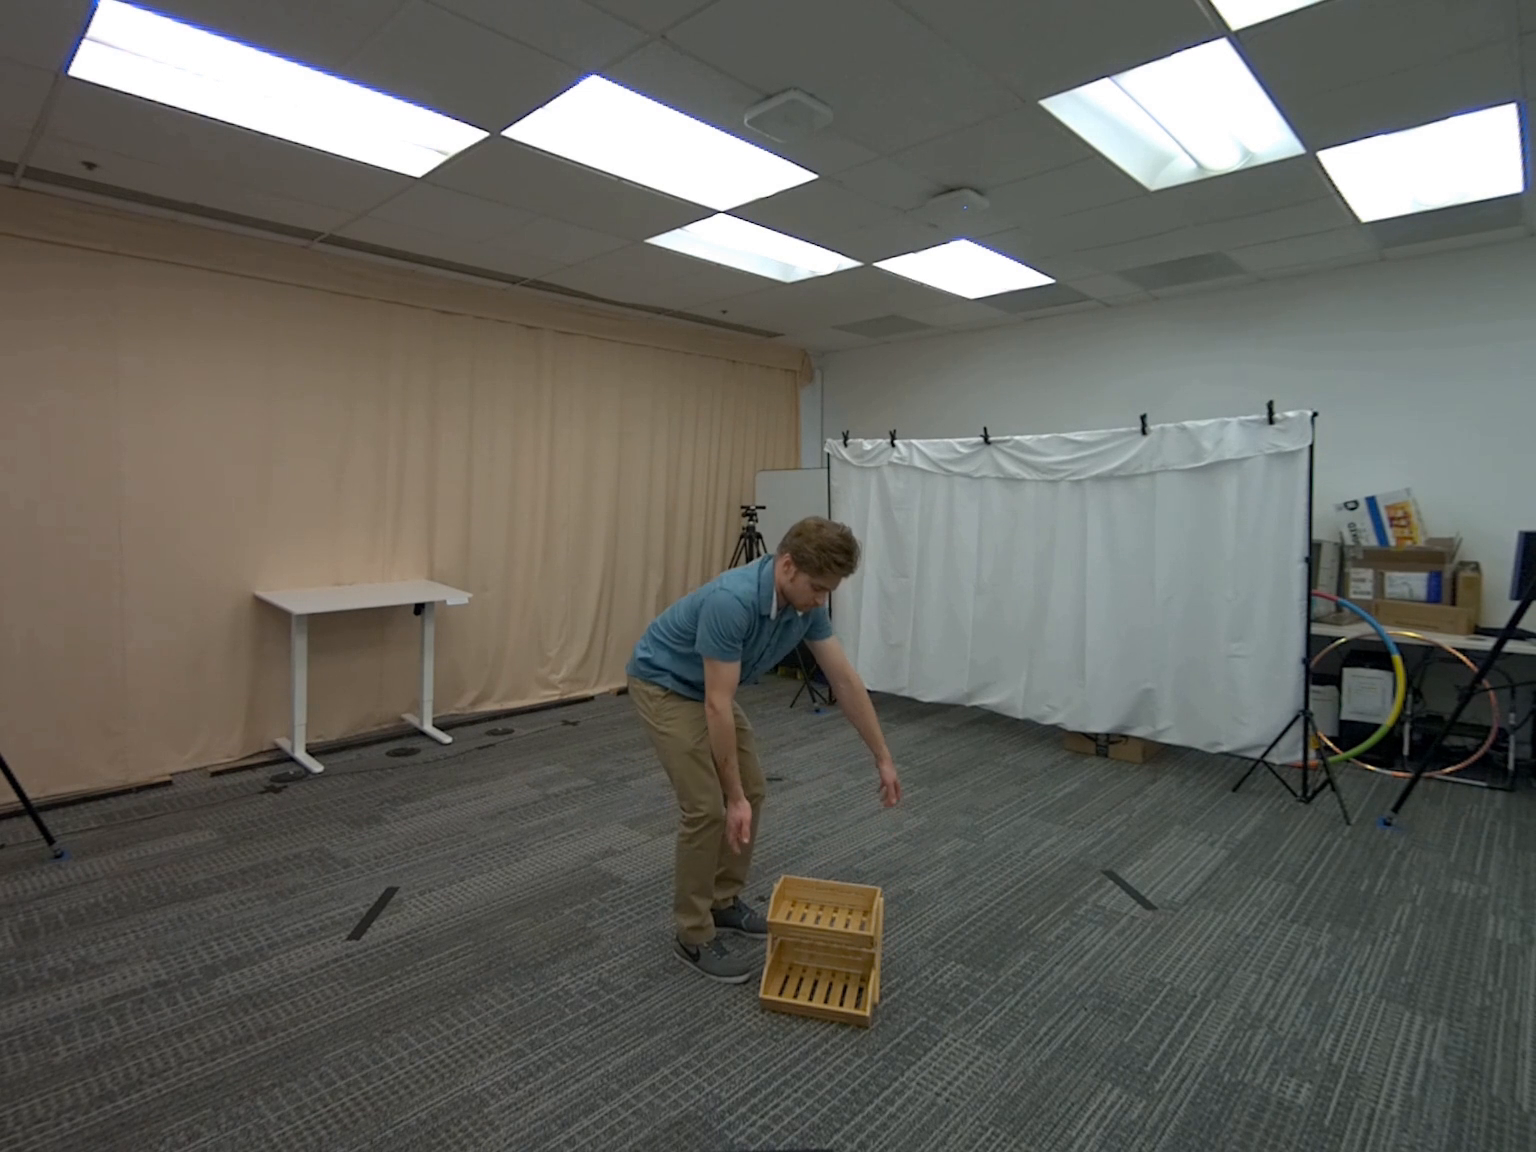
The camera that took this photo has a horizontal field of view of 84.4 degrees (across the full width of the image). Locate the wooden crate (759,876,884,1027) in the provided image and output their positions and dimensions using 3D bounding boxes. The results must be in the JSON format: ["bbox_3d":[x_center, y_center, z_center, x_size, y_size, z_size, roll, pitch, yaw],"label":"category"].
[{"bbox_3d":[0.163,1.062,2.394,0.330,0.273,0.297,1,3,14],"label":"wooden crate"}]
